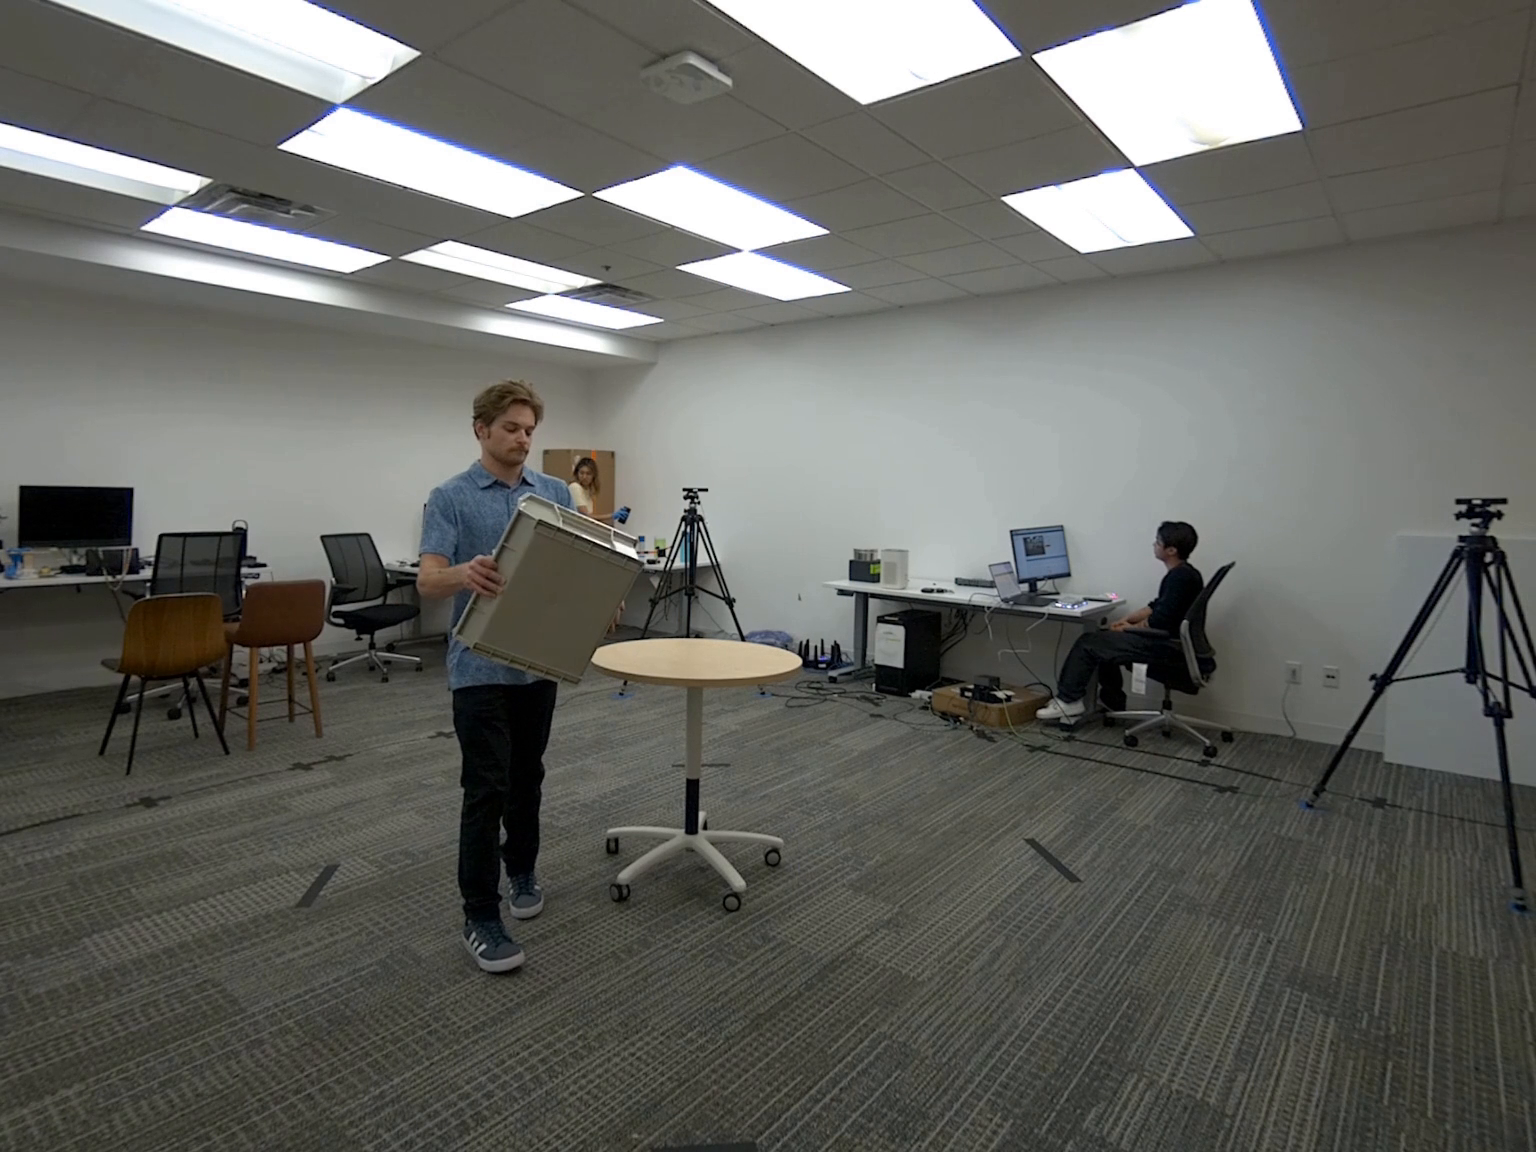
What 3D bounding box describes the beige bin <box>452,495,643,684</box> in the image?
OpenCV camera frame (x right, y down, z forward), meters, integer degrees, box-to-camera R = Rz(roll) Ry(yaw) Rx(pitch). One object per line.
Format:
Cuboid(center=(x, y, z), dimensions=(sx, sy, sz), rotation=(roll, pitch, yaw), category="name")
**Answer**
Cuboid(center=(-0.613, 0.035, 2.335), dimensions=(0.366, 0.421, 0.195), rotation=(25, 13, -24), category="beige bin")
